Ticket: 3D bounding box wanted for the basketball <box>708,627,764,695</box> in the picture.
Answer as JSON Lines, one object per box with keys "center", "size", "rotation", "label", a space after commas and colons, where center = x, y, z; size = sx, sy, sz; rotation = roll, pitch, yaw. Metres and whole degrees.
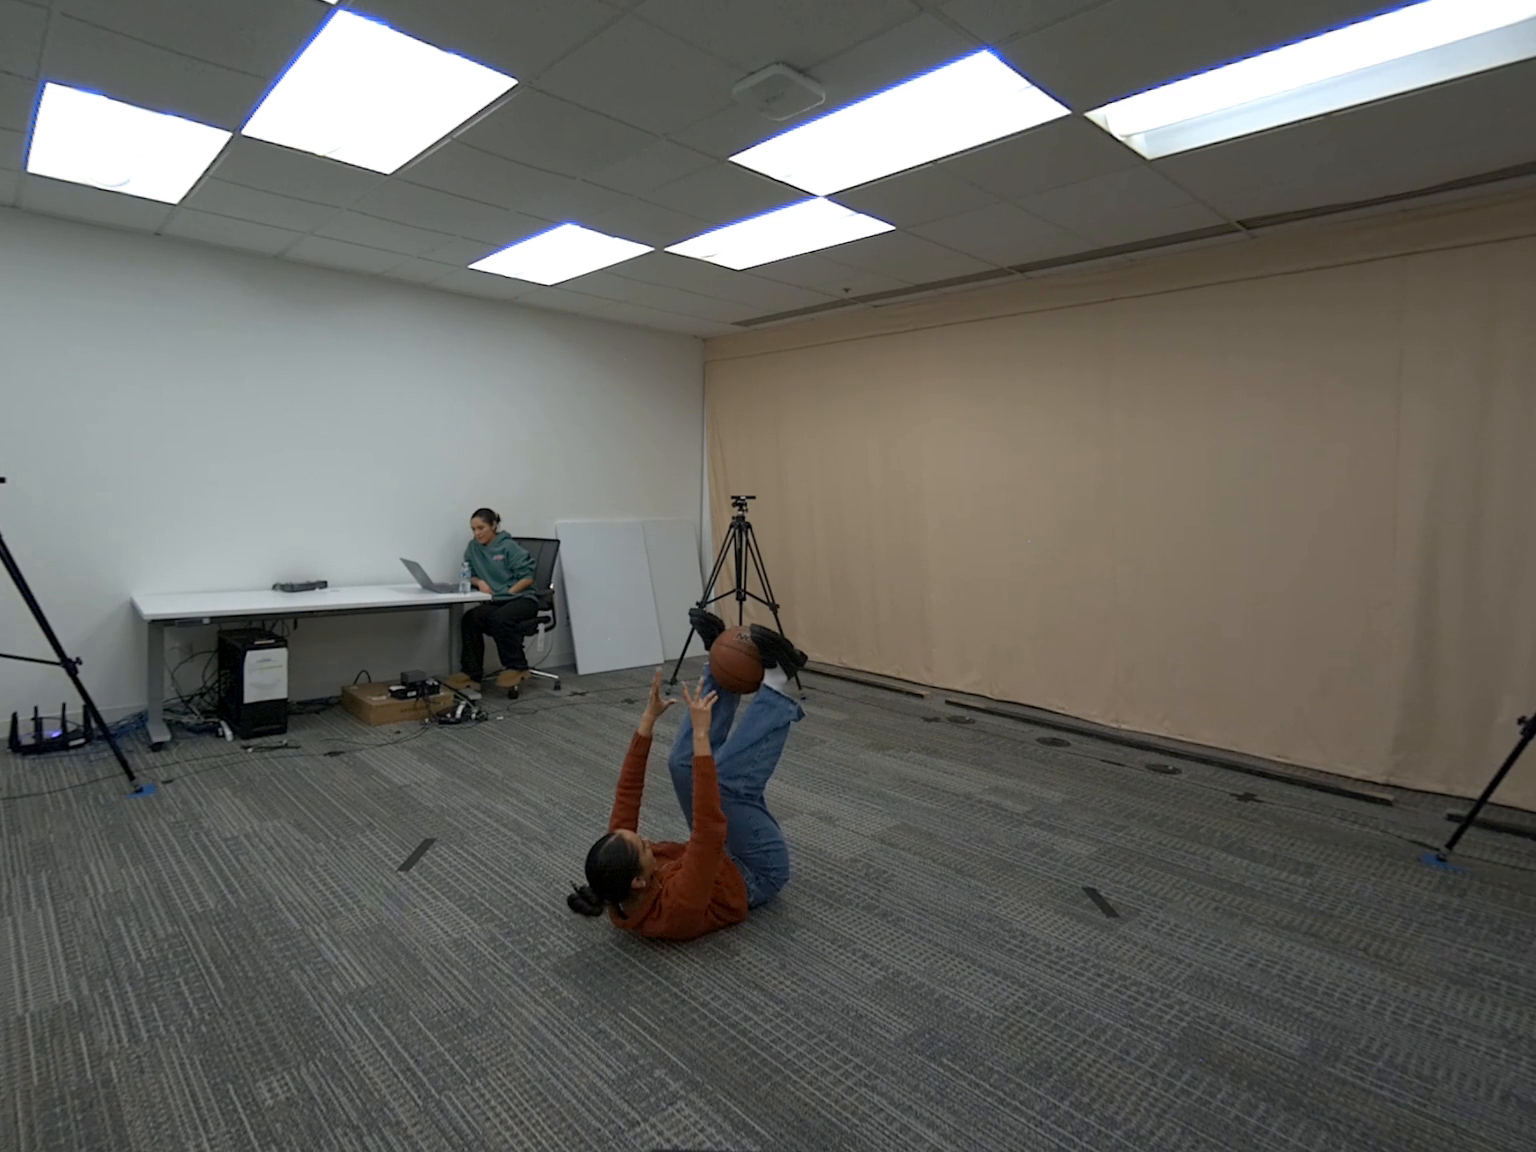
{"center": [-0.086, 0.291, 2.920], "size": [0.236, 0.234, 0.237], "rotation": [0, 8, -1], "label": "basketball"}
